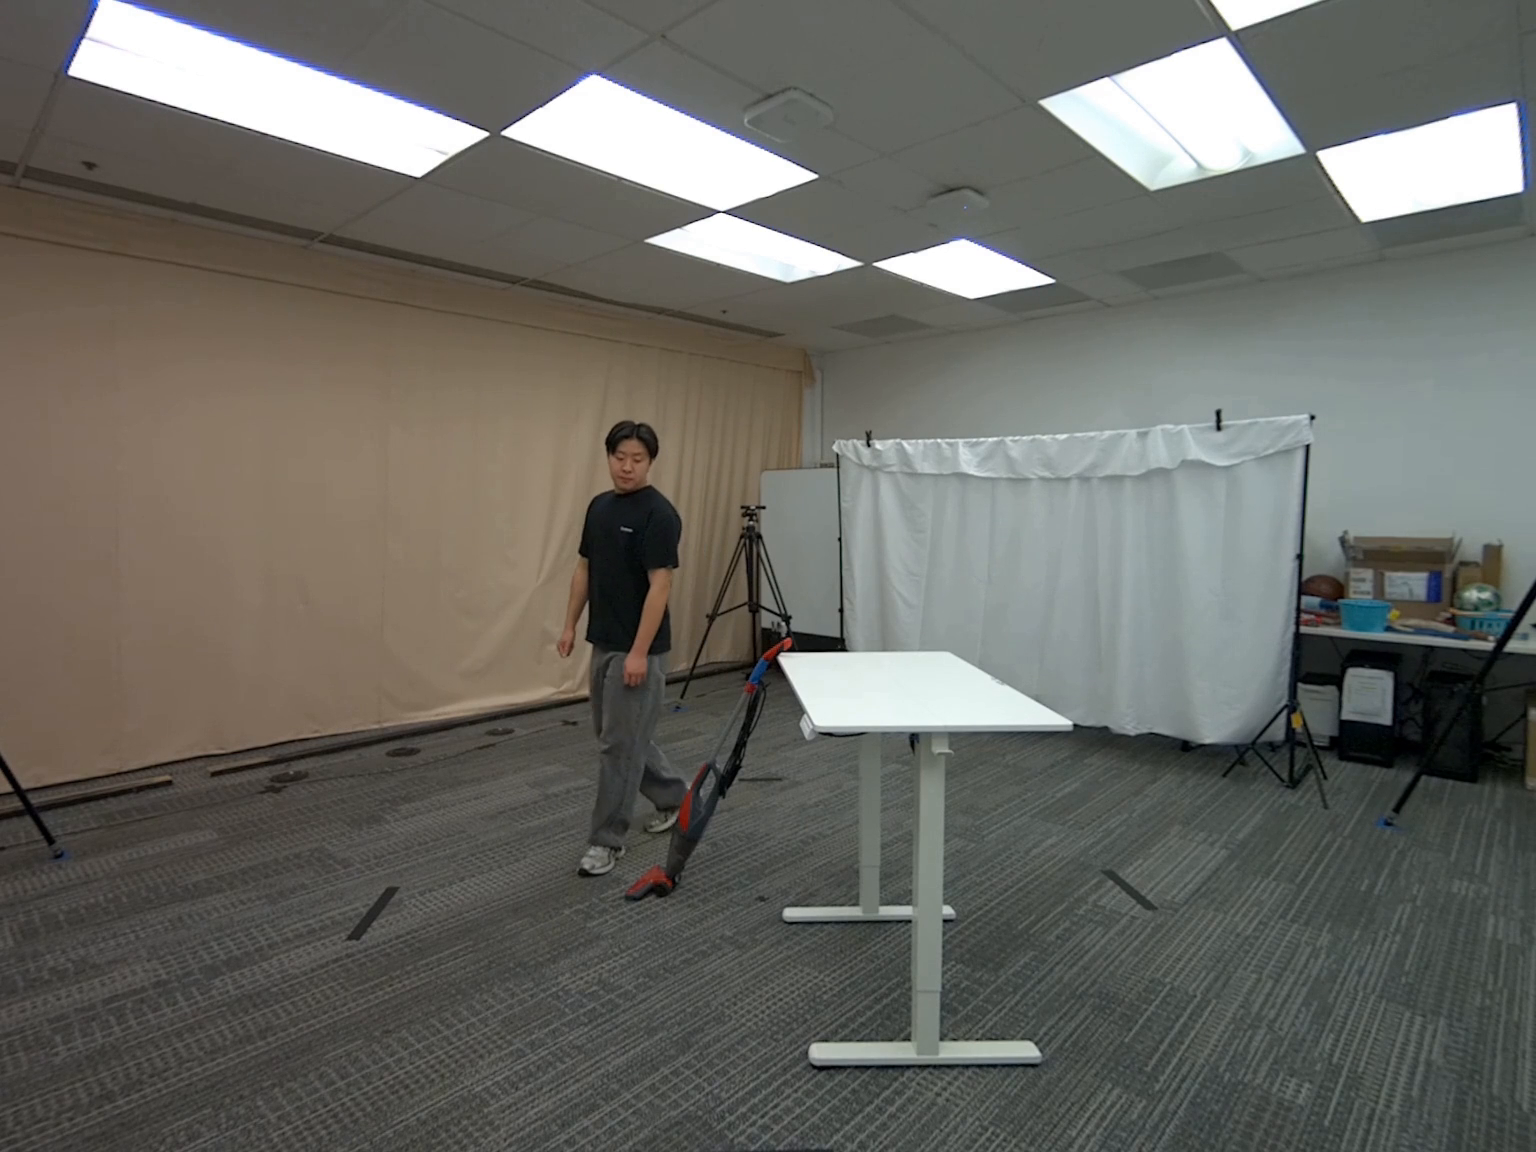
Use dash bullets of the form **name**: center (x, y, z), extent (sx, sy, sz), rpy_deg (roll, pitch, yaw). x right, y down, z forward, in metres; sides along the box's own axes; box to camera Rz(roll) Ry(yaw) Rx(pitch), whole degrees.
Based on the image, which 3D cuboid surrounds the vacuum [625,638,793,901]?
- **vacuum**: center (-0.171, 0.678, 2.965), extent (0.148, 1.048, 0.246), rpy_deg (33, 14, 22)
